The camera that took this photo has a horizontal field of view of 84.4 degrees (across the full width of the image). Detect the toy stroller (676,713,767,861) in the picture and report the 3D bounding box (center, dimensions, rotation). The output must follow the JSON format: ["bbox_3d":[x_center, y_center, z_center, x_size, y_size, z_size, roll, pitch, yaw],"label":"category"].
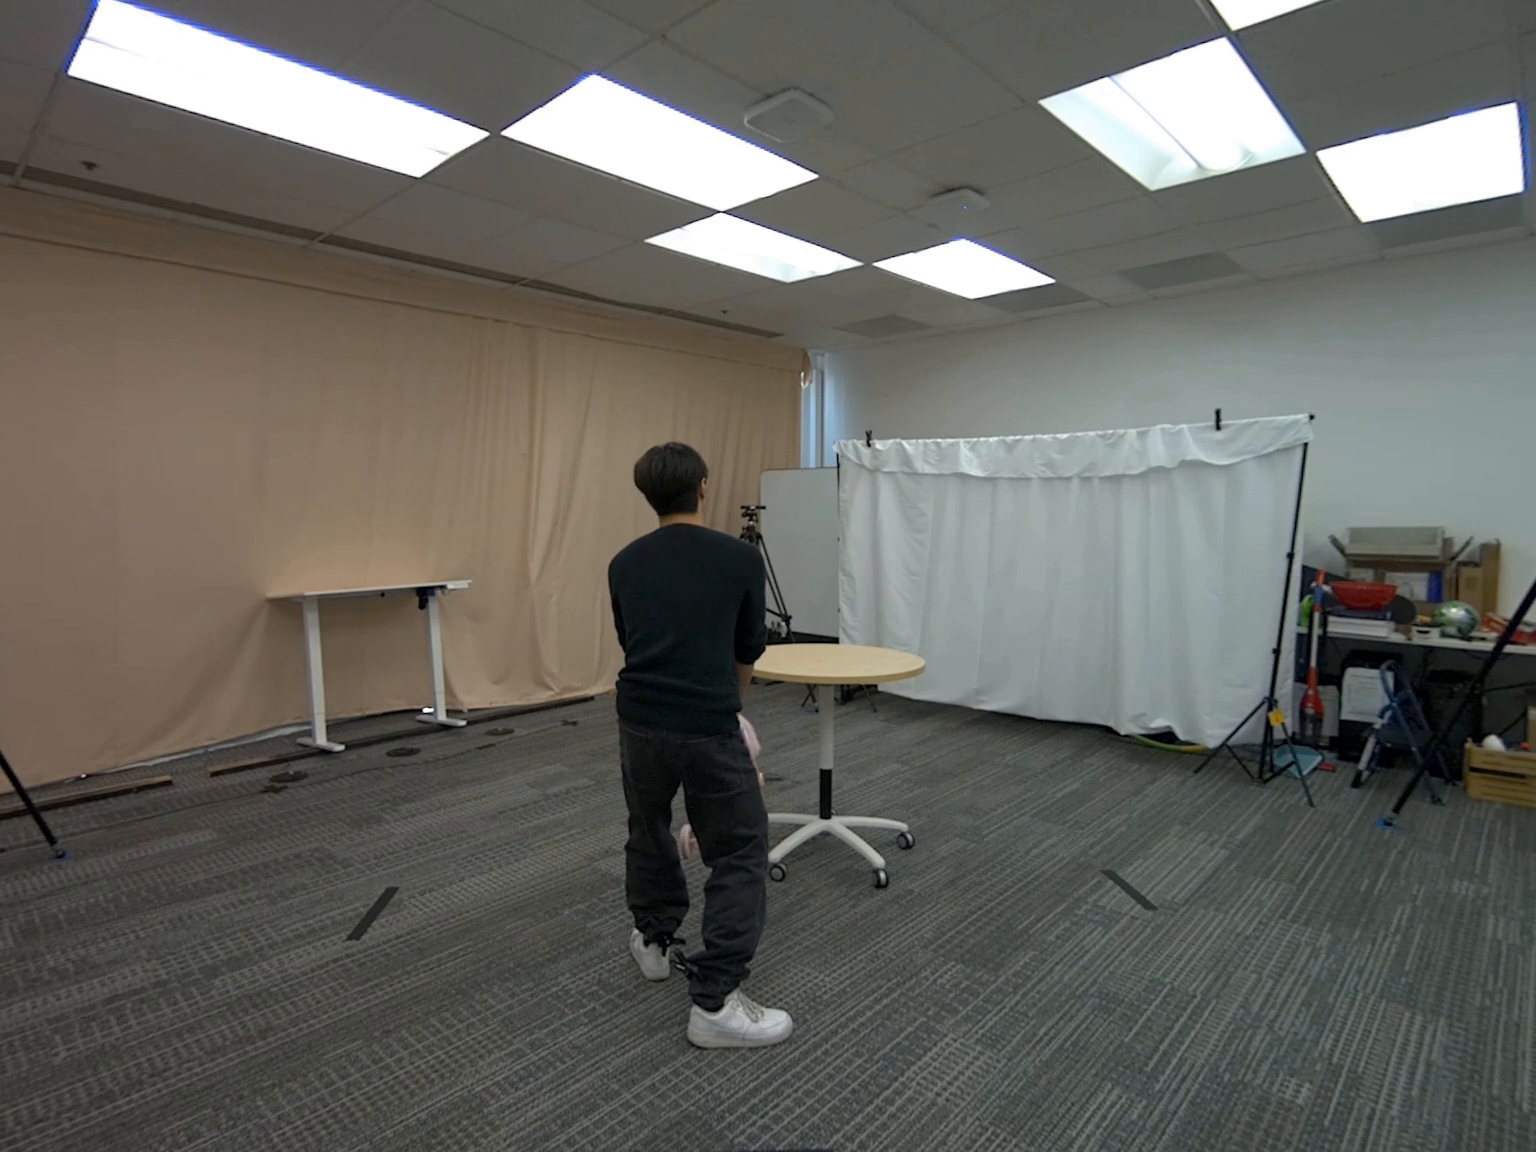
[{"bbox_3d":[-0.127,0.706,2.836,0.287,0.535,0.335,-4,1,18],"label":"toy stroller"}]
